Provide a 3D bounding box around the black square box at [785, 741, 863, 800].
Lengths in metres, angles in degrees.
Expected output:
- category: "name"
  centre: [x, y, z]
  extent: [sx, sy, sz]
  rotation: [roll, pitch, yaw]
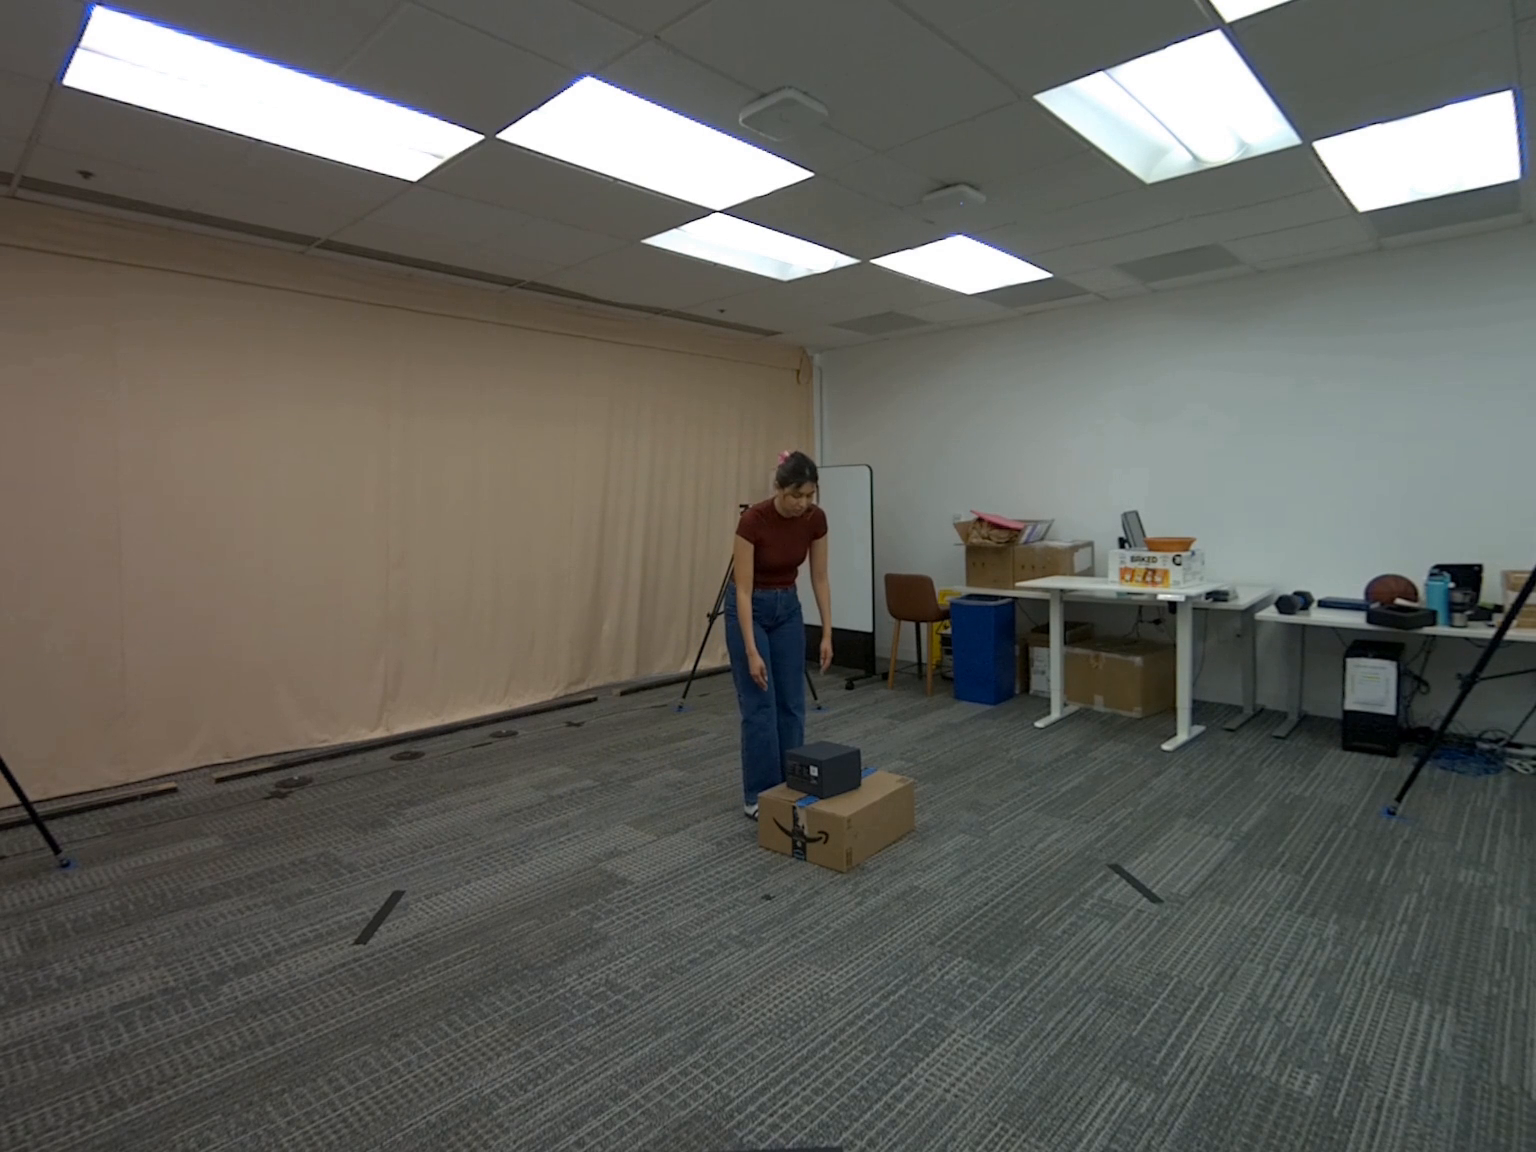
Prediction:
- category: "black square box"
  centre: [0.229, 0.791, 3.478]
  extent: [0.221, 0.156, 0.224]
  rotation: [-5, 4, -40]
